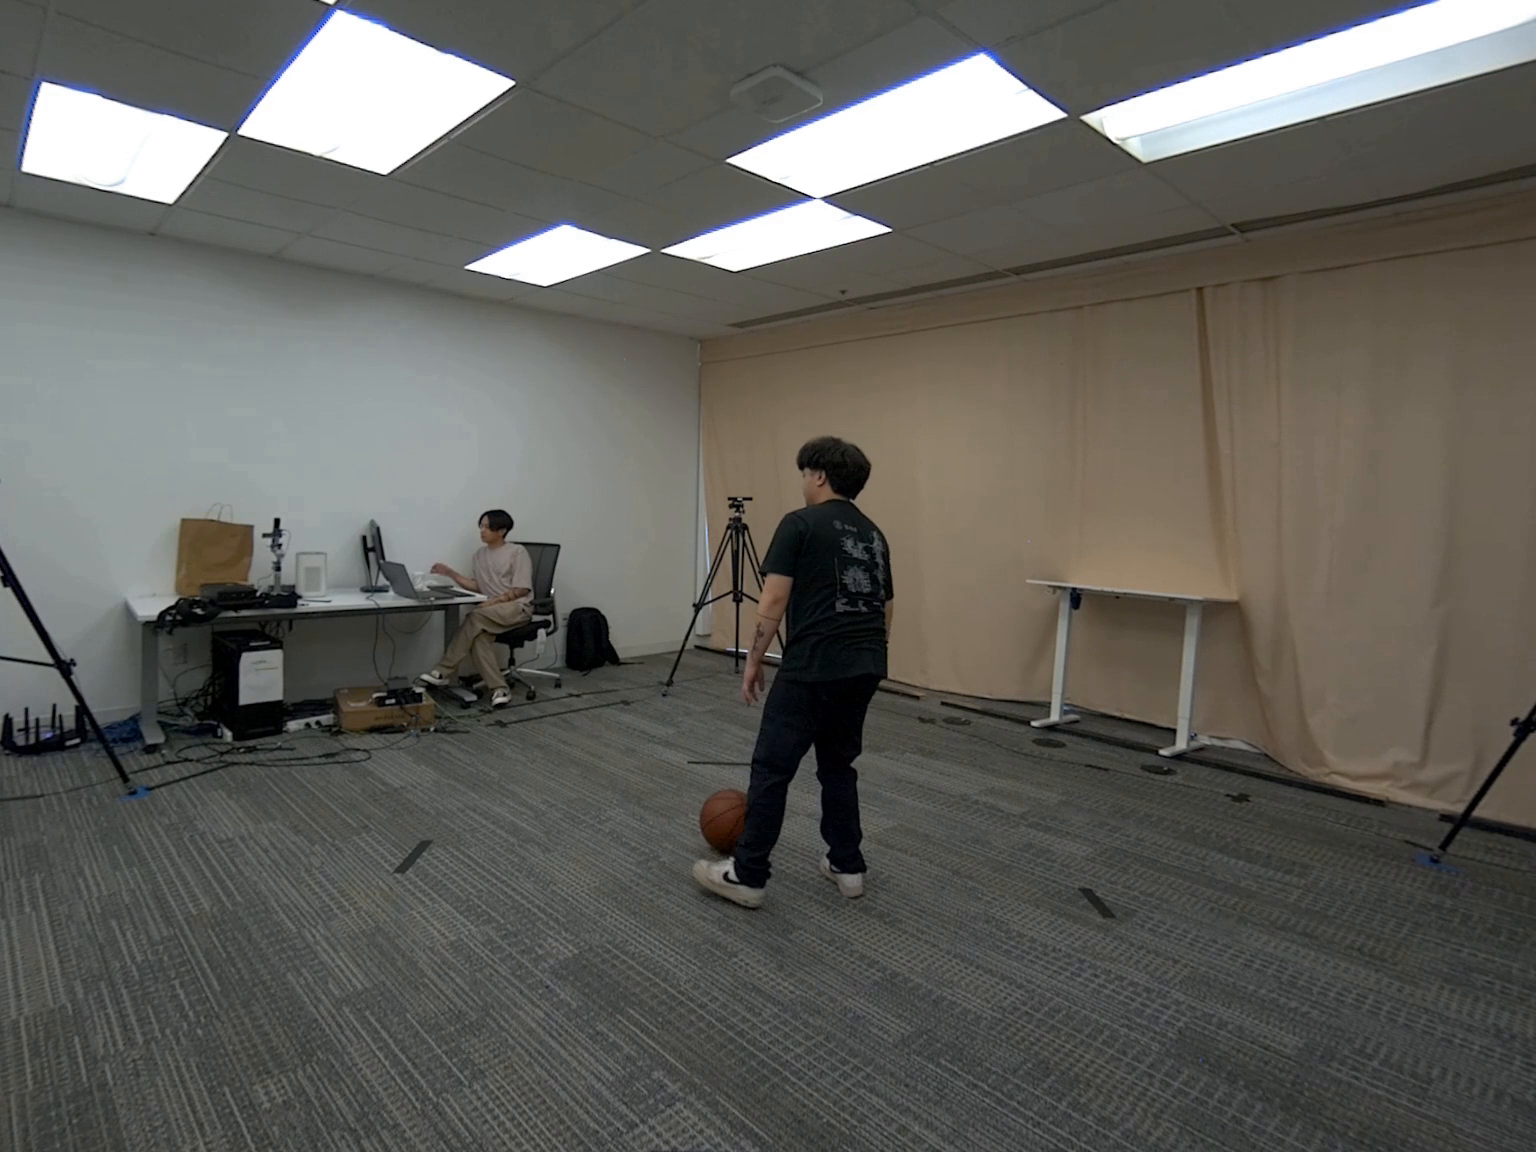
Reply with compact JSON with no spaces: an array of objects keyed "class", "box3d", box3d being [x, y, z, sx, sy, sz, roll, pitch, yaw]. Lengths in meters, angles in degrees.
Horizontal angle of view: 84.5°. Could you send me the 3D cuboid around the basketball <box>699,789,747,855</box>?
[{"class":"basketball","box3d":[-0.160,0.966,3.329,0.236,0.235,0.237,1,4,-1]}]
